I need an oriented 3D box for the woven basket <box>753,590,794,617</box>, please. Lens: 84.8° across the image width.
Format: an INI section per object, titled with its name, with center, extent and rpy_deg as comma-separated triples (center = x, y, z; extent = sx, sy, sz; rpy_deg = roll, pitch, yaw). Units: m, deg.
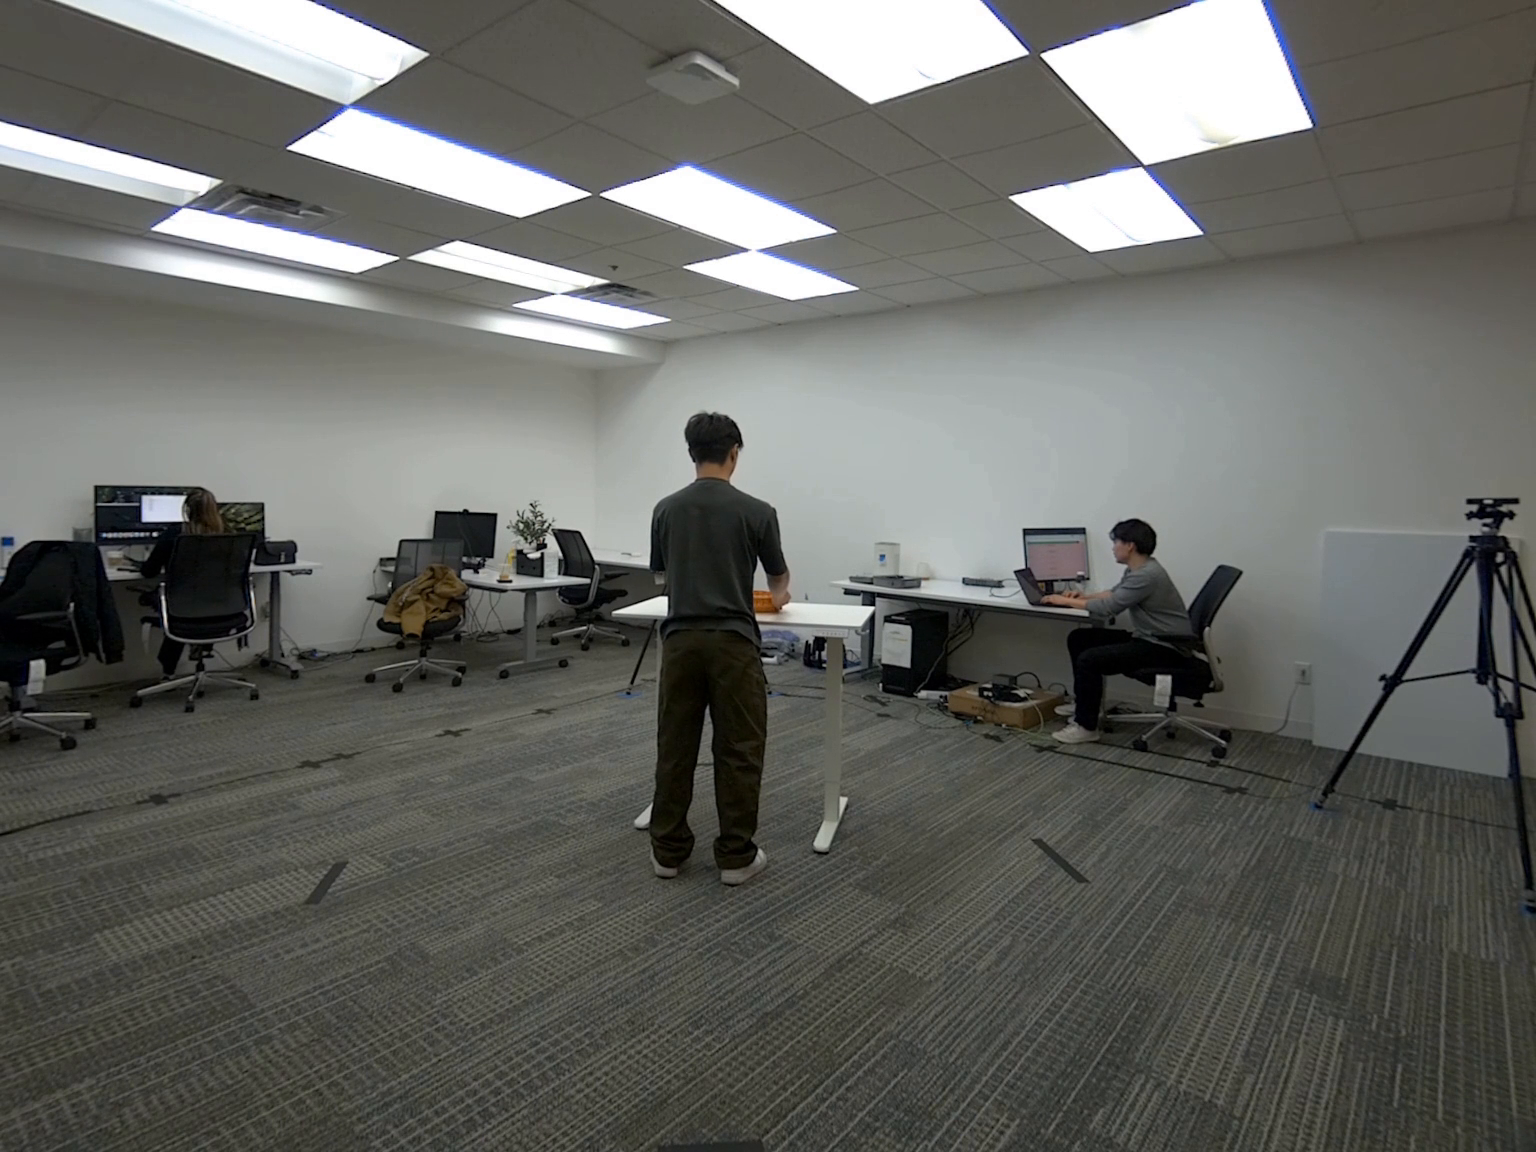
[woven basket]
center = -0.104, 0.106, 3.590
extent = 0.360, 0.073, 0.246
rpy_deg = 4, 5, 26
